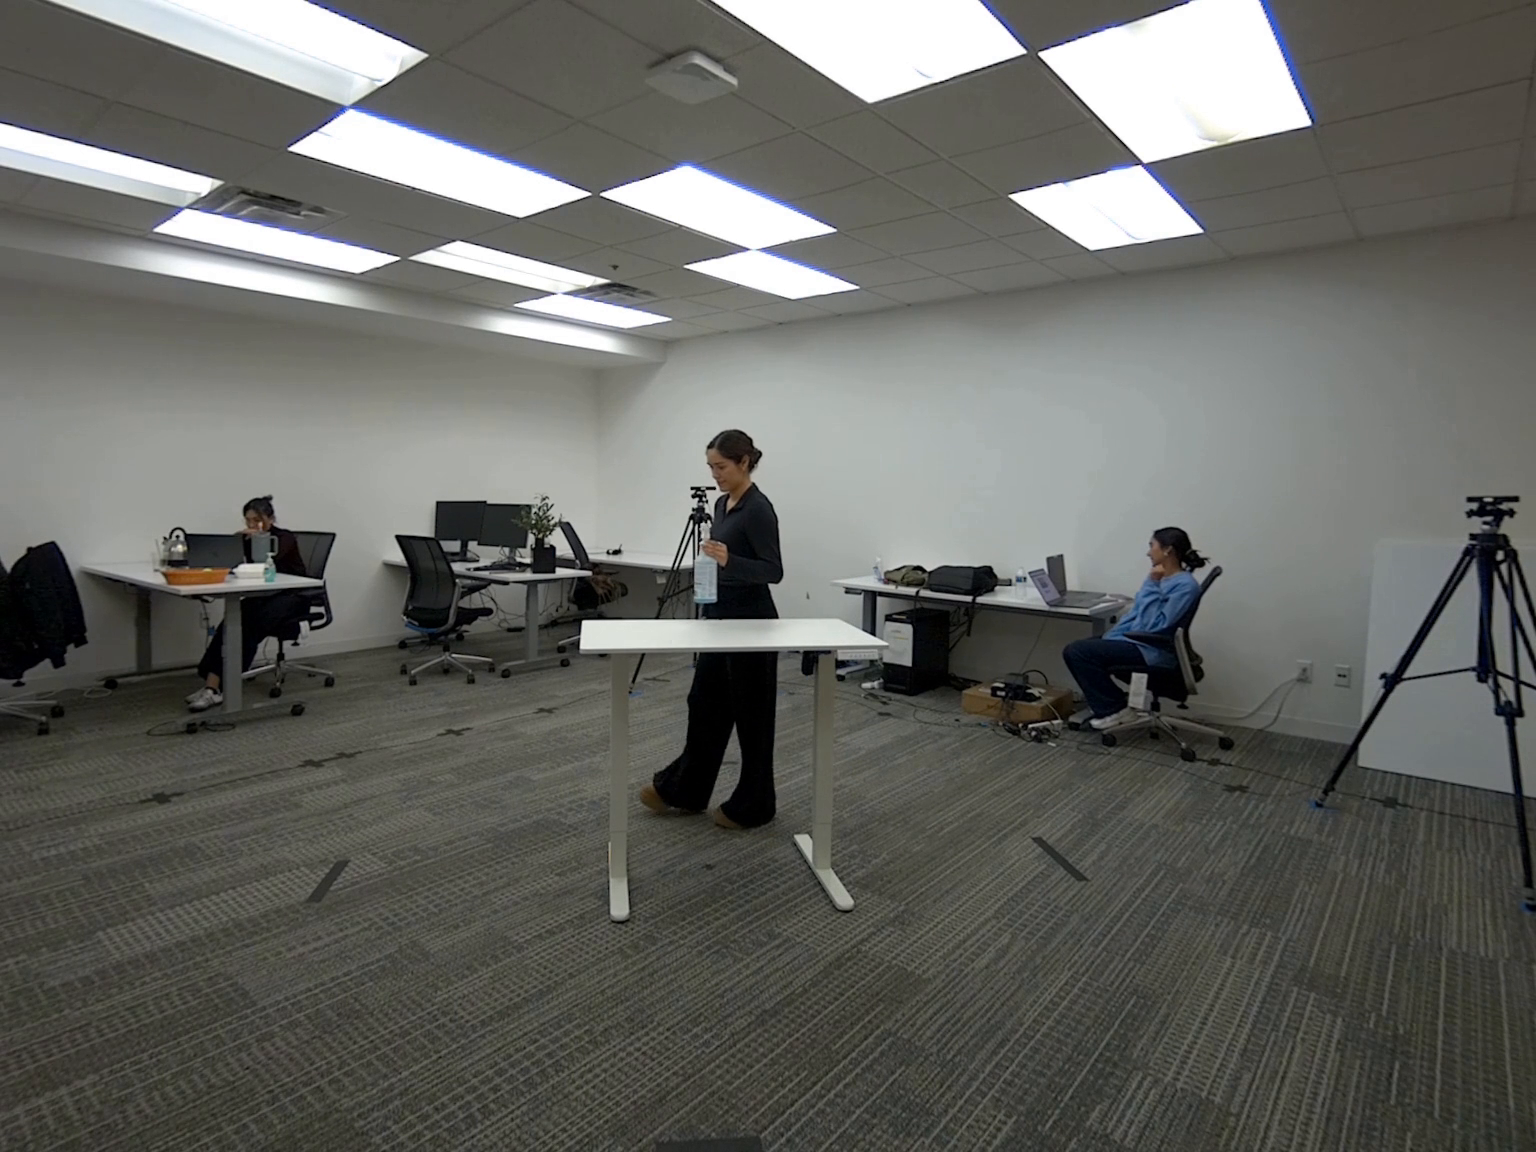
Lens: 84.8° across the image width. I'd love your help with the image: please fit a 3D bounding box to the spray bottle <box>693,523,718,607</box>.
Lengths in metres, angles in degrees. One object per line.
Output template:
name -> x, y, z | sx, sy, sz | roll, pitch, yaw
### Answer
spray bottle -> -0.249, -0.050, 3.201 | 0.090, 0.297, 0.087 | 1, 1, 35
